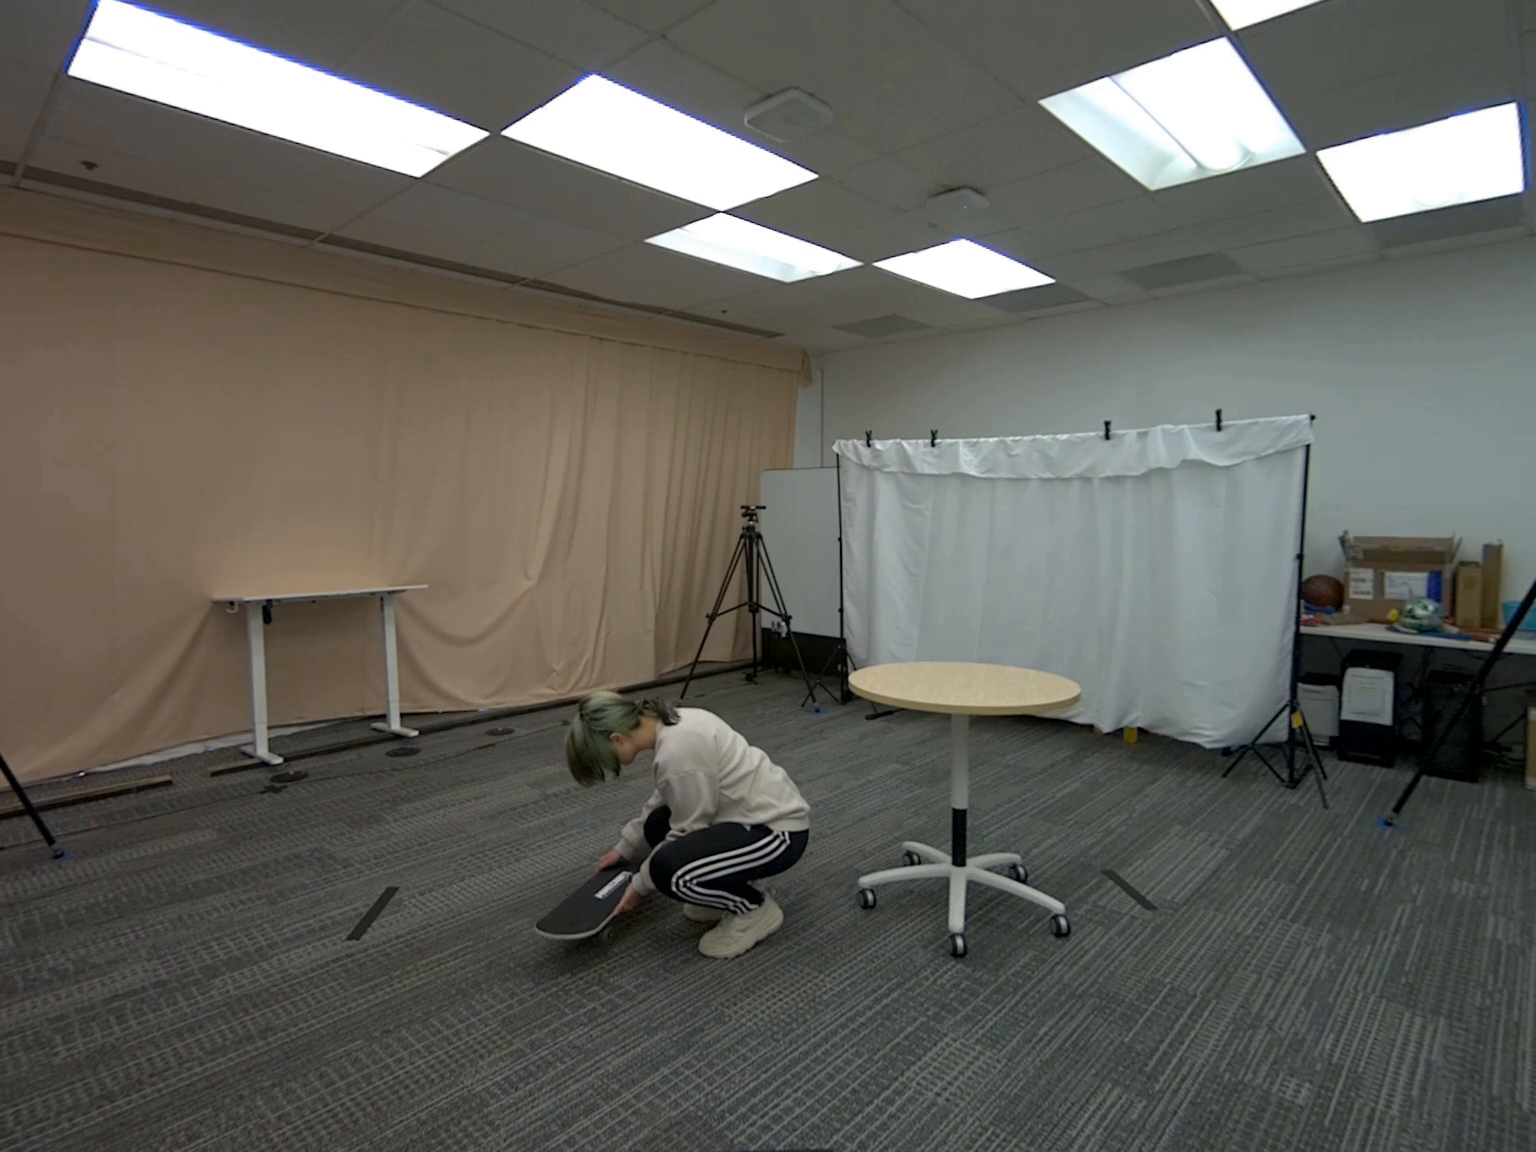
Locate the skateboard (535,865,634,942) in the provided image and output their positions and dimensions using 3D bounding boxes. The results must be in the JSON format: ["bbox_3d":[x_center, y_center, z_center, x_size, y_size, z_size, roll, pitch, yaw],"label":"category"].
[{"bbox_3d":[-0.520,1.063,2.810,0.197,0.110,0.771,-1,4,19],"label":"skateboard"}]
